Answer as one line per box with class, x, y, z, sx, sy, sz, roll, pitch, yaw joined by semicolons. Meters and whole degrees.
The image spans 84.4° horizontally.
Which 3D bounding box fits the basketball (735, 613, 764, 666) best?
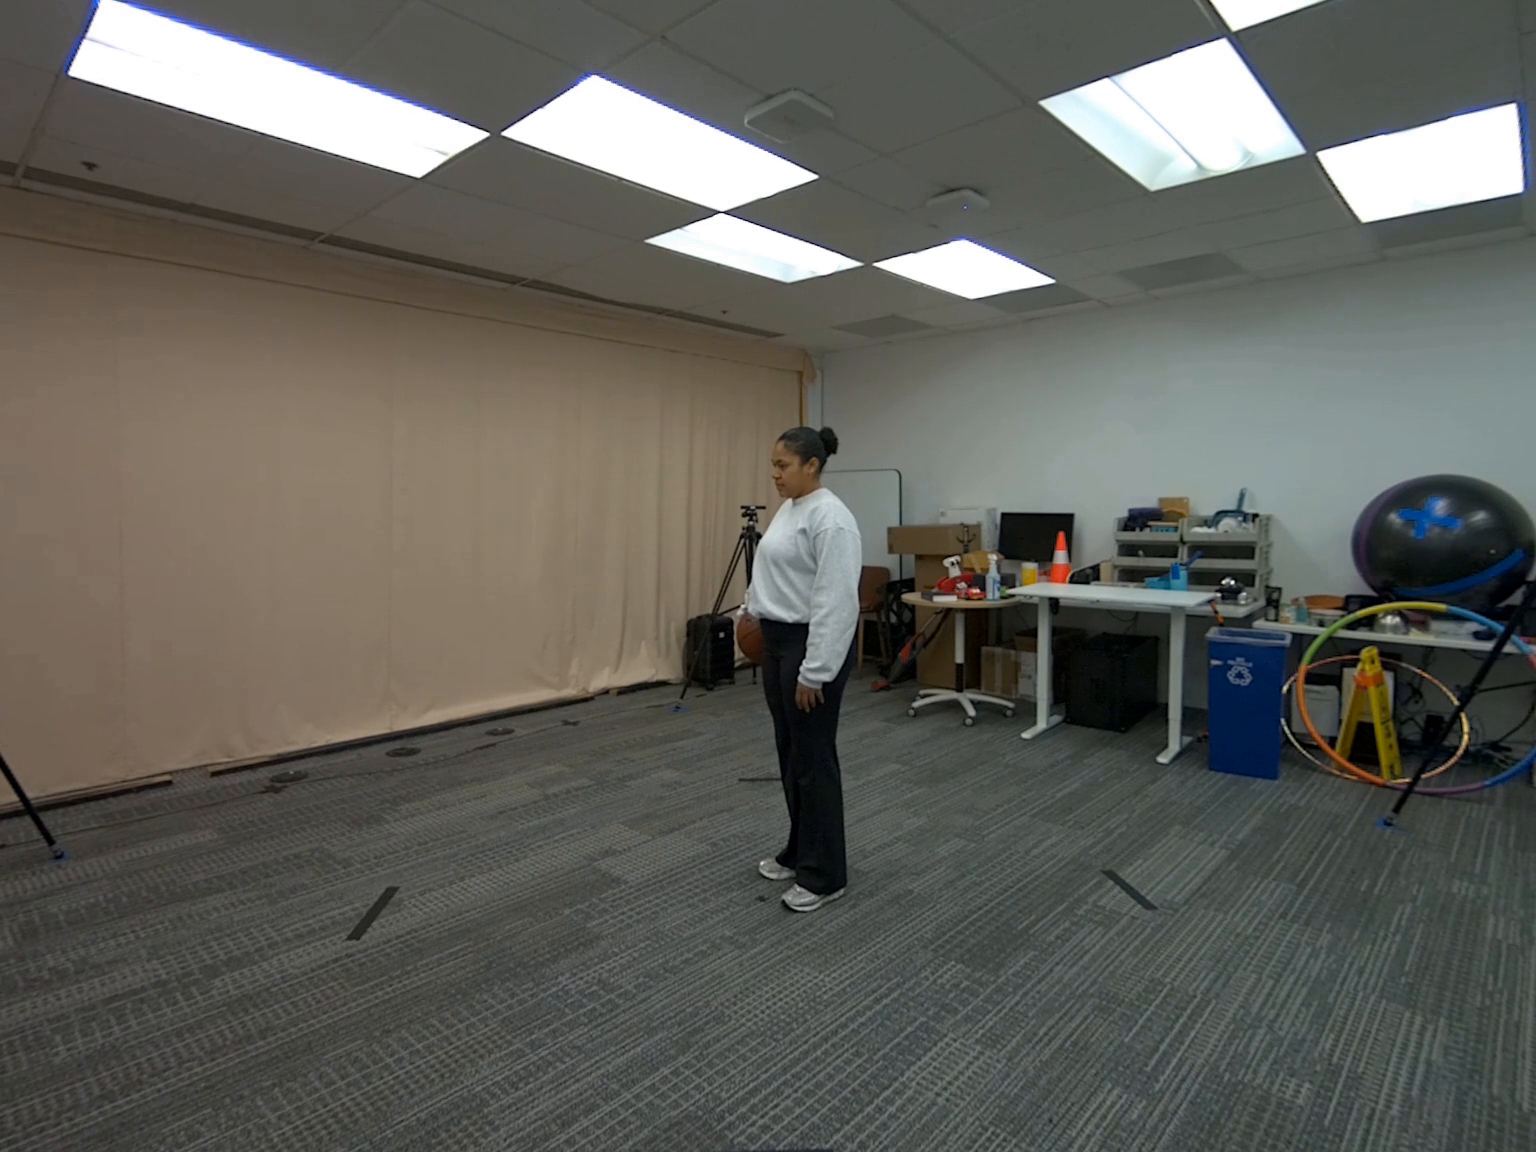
basketball;-0.004;0.226;3.302;0.236;0.235;0.237;0;4;-2
